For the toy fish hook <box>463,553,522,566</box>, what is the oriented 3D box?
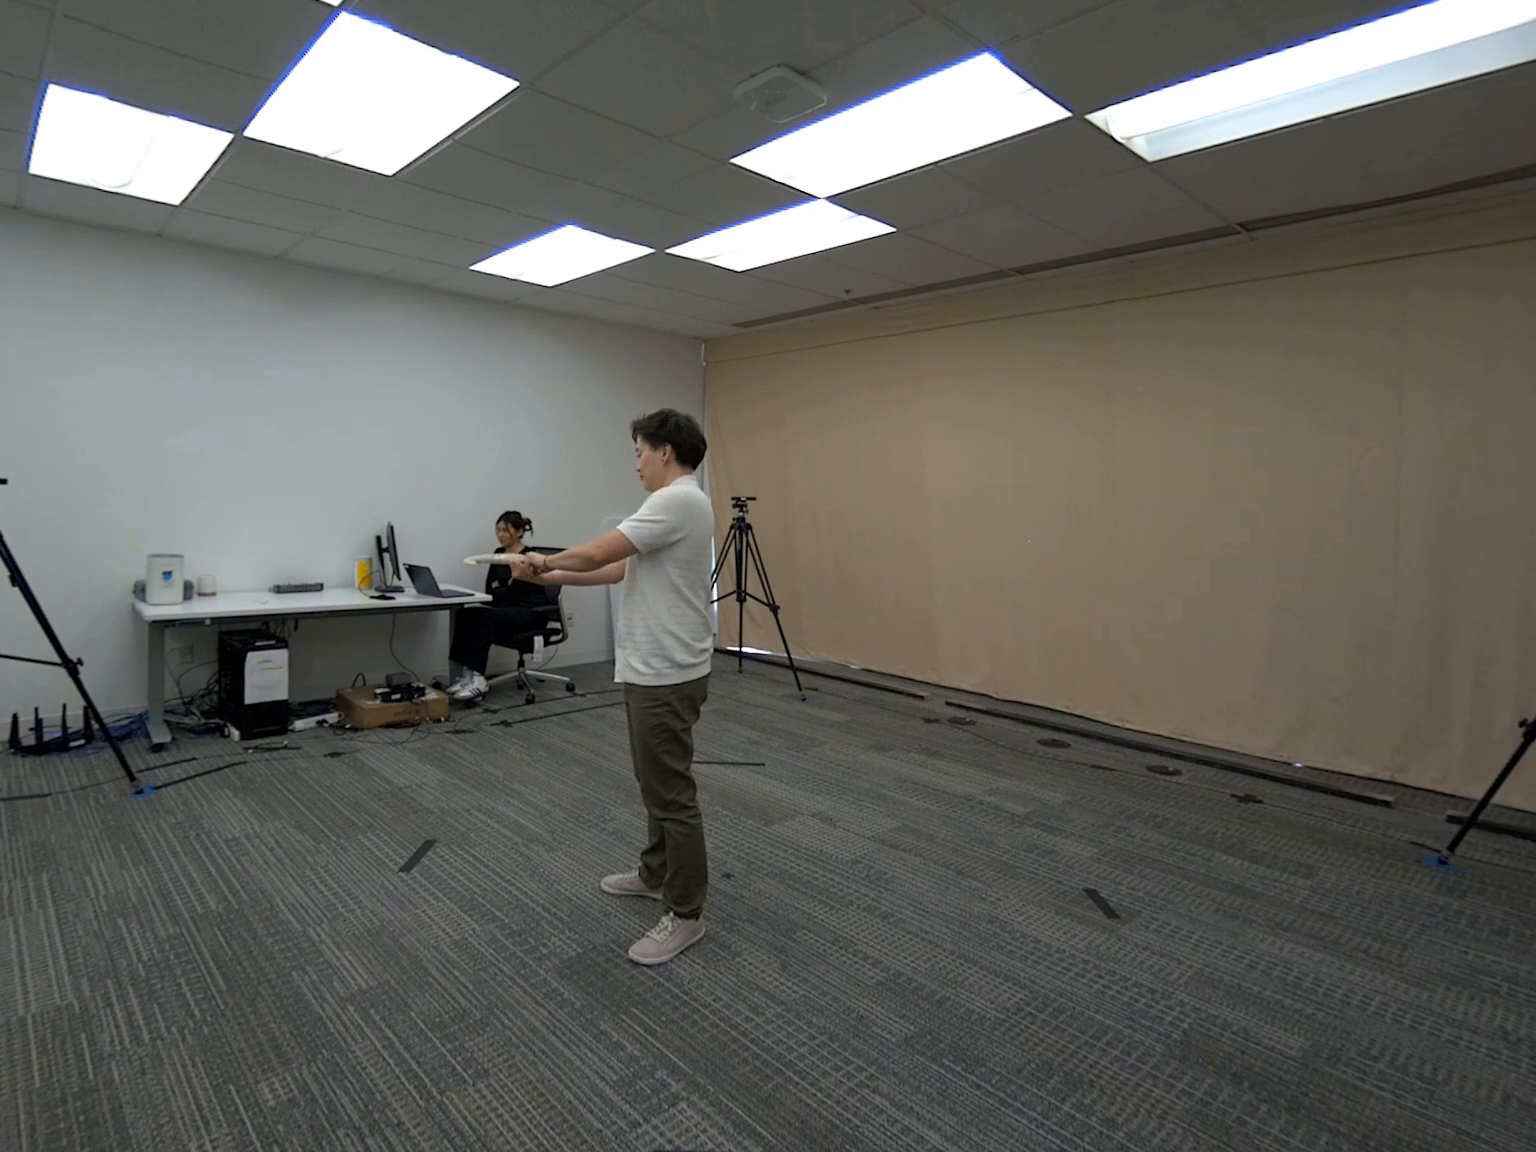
[{"bbox_3d":[-0.901,-0.032,2.854,0.221,0.048,0.518,-7,8,-29],"label":"toy fish hook"}]
